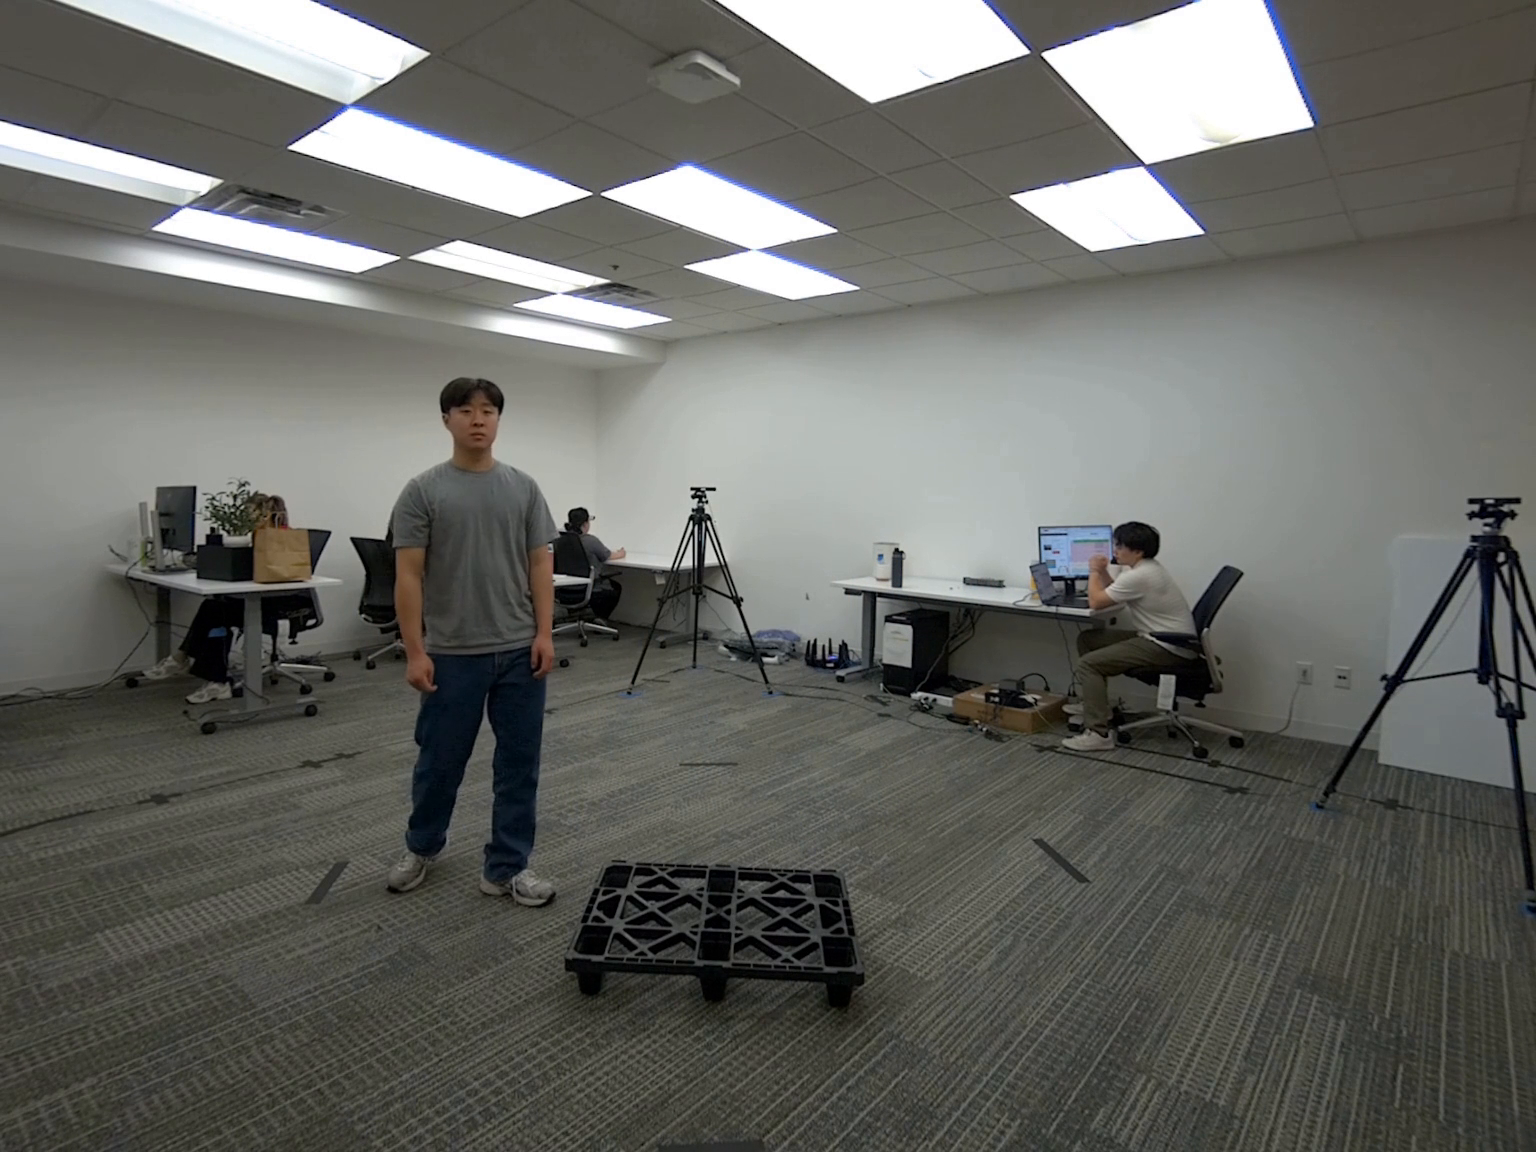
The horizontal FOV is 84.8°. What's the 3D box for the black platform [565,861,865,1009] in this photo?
[{"bbox_3d":[-0.159,1.054,2.537,0.808,0.143,0.606,2,5,2],"label":"black platform"}]
